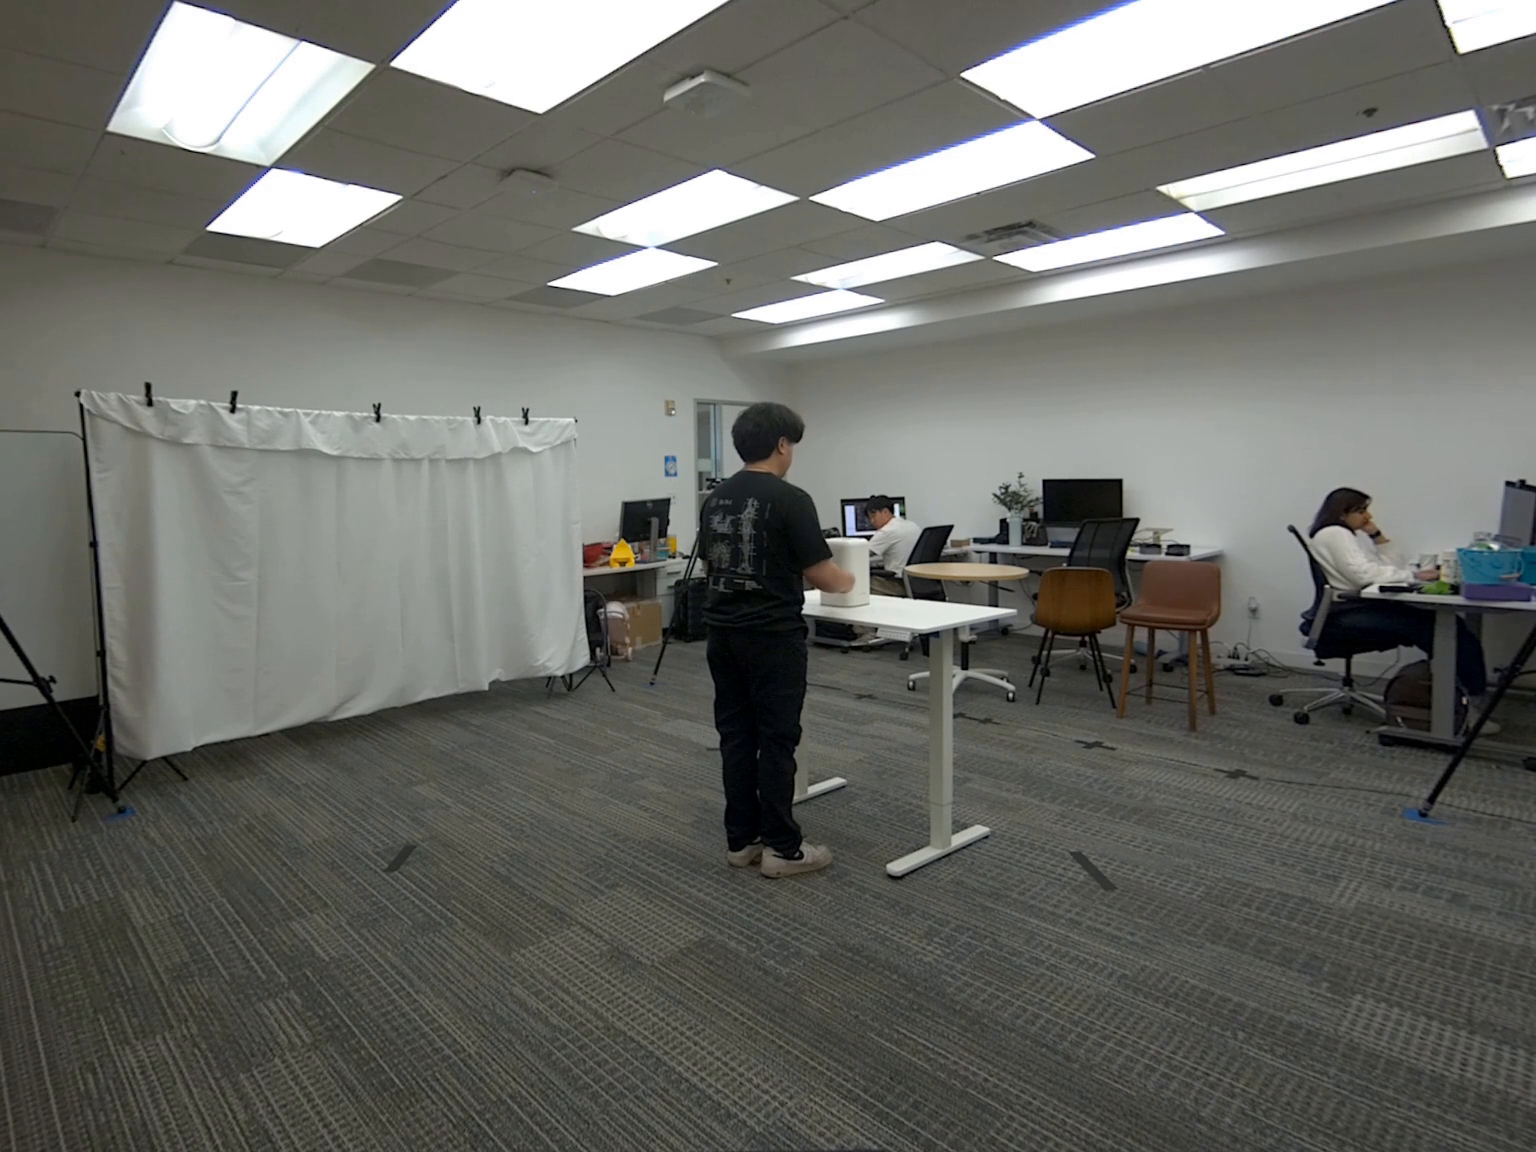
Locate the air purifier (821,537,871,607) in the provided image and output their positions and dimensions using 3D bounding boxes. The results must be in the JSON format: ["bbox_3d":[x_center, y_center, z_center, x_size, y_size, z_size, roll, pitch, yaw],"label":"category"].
[{"bbox_3d":[0.318,-0.018,3.450,0.177,0.265,0.166,2,4,43],"label":"air purifier"}]
